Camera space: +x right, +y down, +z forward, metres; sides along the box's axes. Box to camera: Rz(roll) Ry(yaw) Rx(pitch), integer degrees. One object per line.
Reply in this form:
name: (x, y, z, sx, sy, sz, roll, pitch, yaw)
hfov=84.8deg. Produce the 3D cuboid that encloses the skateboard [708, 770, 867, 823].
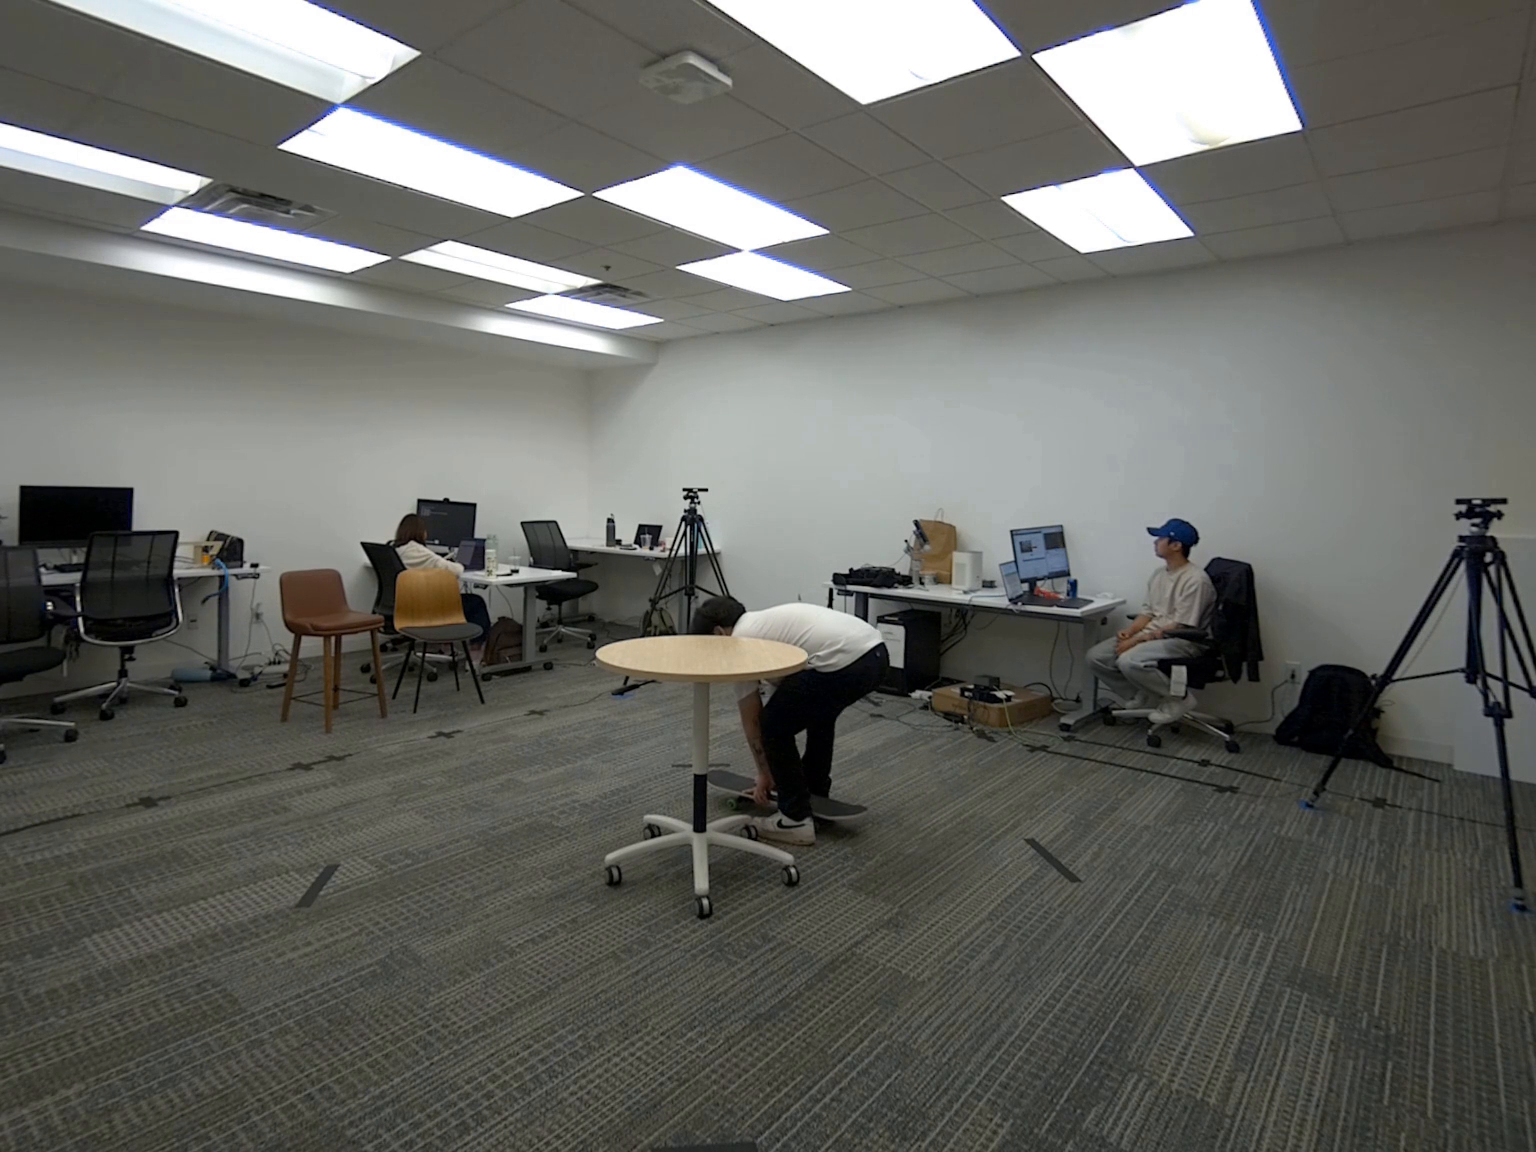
skateboard: (0.044, 0.969, 3.645, 0.811, 0.110, 0.188, 6, 5, 35)
